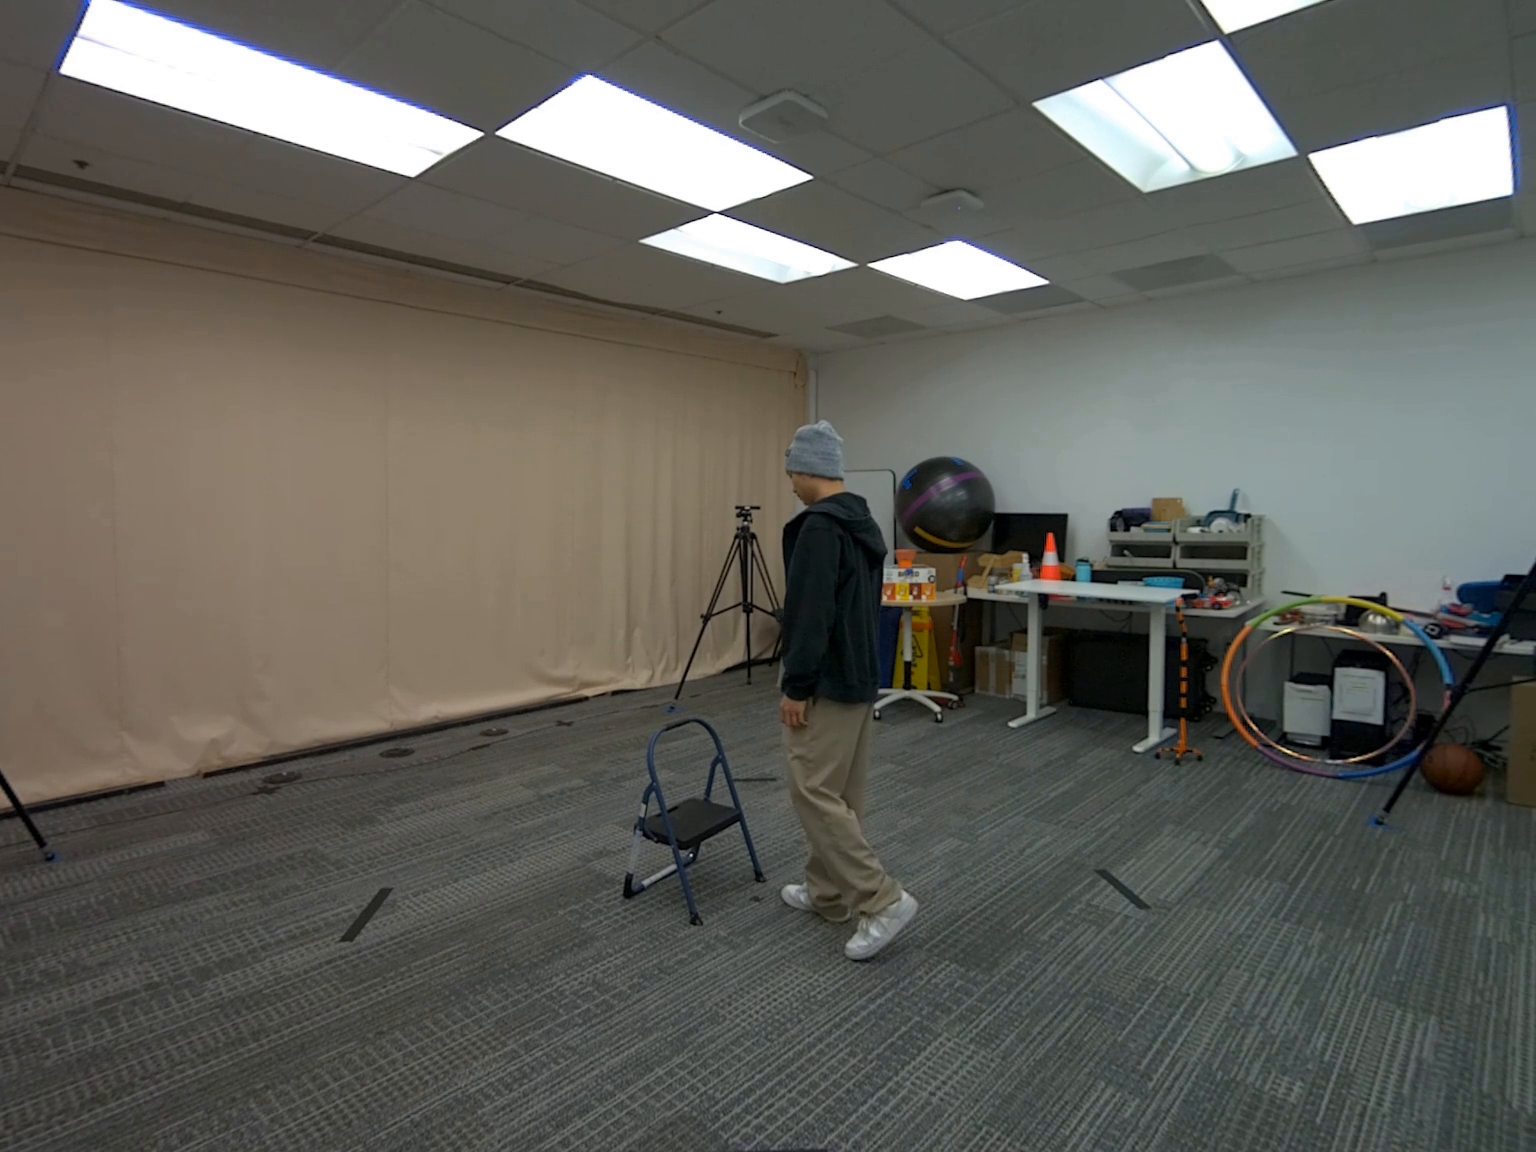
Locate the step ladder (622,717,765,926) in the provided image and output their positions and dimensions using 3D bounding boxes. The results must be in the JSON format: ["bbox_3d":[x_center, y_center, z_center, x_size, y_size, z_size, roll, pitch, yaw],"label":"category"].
[{"bbox_3d":[-0.265,0.837,3.050,0.360,0.605,0.418,2,4,34],"label":"step ladder"}]
